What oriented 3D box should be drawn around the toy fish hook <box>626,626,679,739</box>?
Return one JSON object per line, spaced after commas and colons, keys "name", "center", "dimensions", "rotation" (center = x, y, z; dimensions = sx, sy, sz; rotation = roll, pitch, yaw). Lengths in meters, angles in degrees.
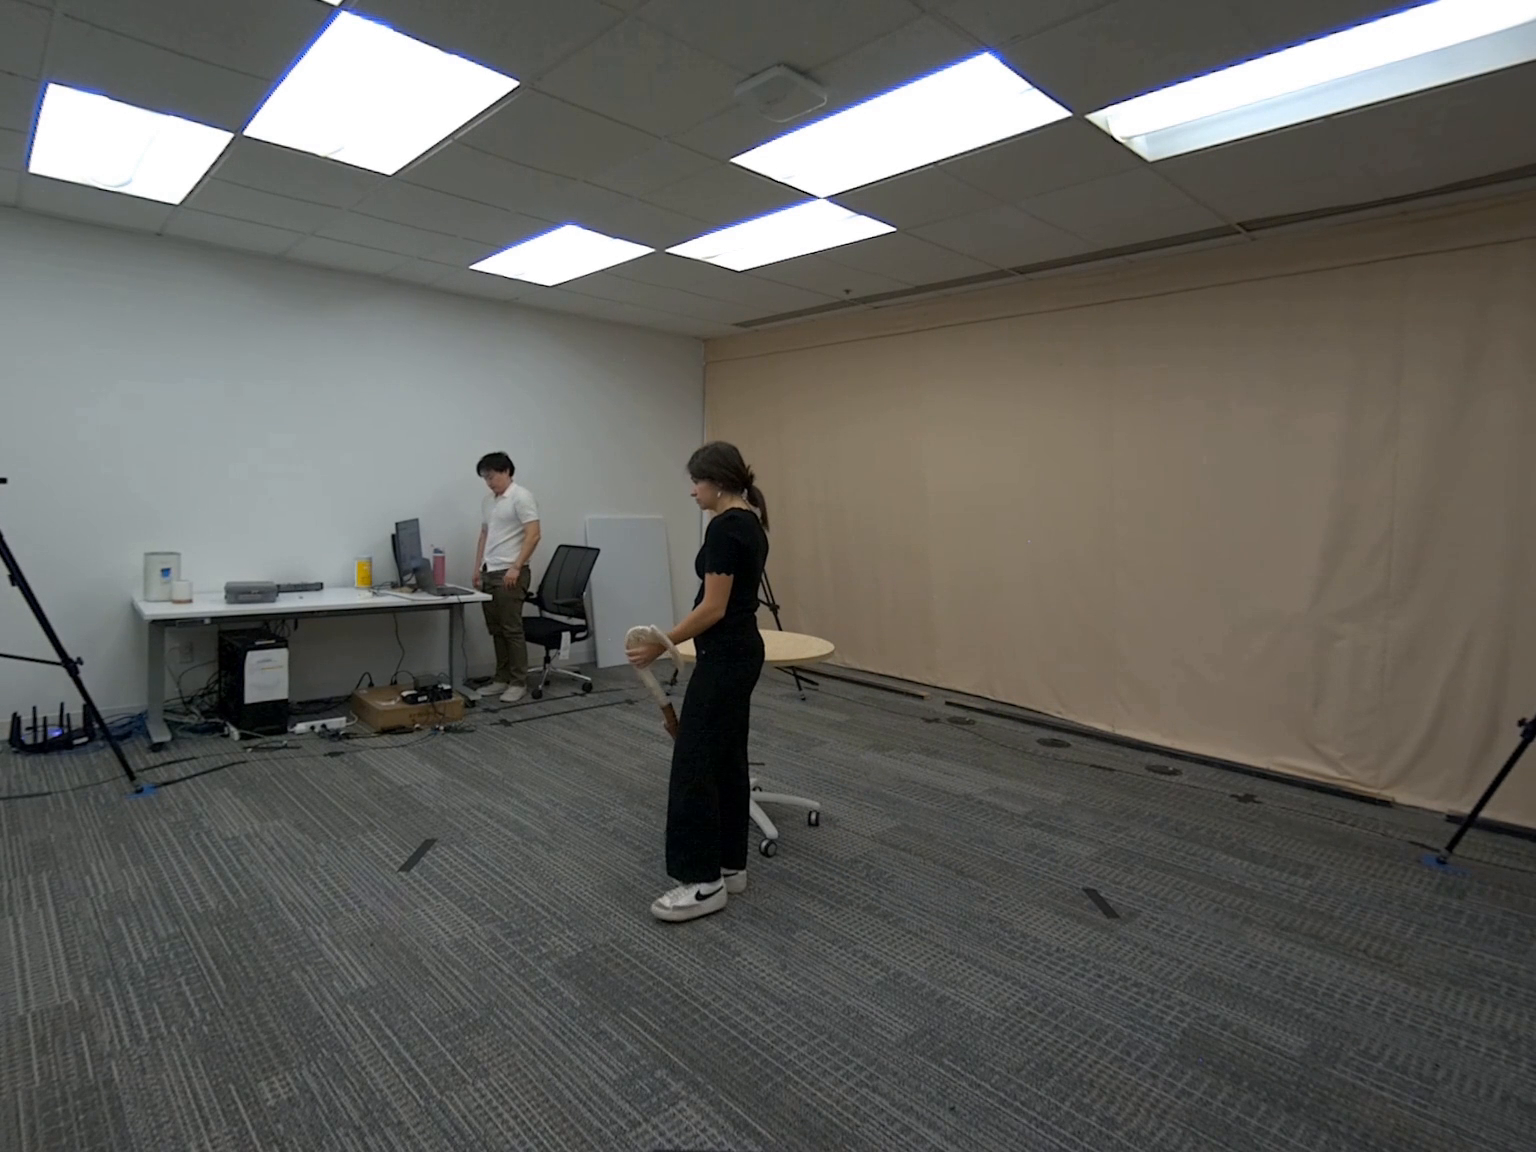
{"name": "toy fish hook", "center": [-0.356, 0.396, 2.905], "dimensions": [0.229, 0.499, 0.048], "rotation": [-6, 21, 39]}
